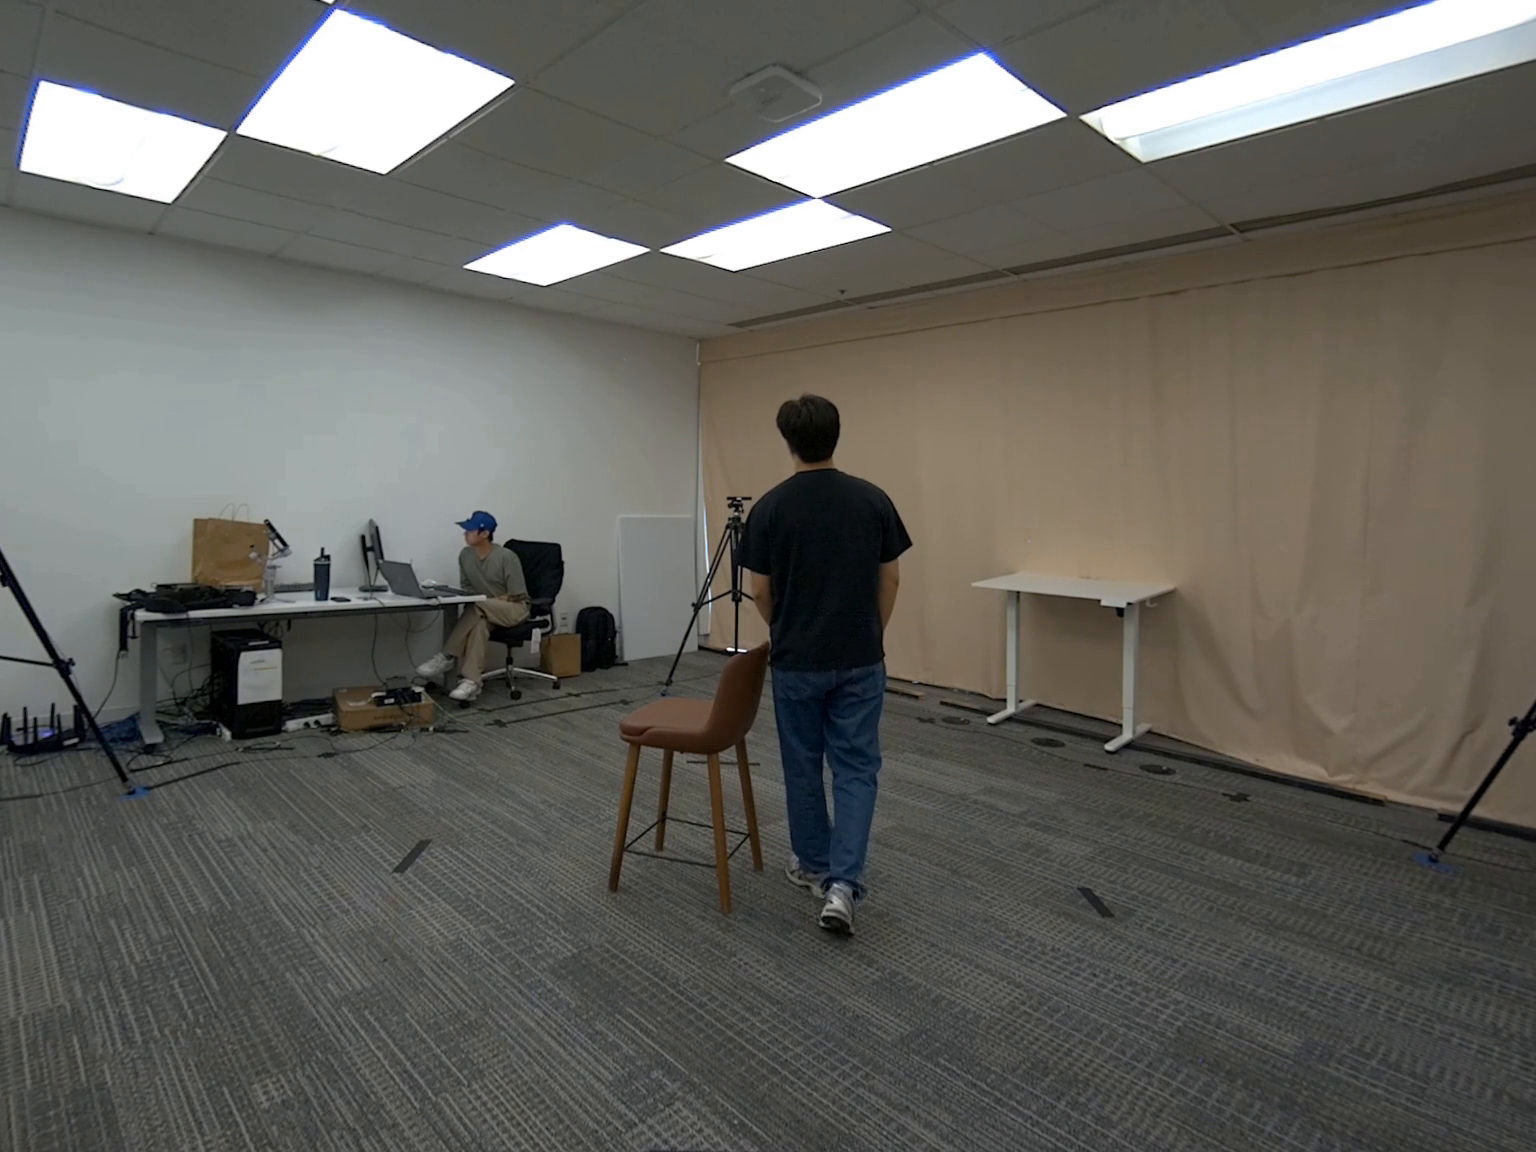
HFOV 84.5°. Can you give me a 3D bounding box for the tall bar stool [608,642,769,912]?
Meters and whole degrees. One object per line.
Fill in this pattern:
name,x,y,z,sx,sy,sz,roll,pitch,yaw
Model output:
tall bar stool,-0.272,0.674,3.041,0.476,0.887,0.450,5,5,21
